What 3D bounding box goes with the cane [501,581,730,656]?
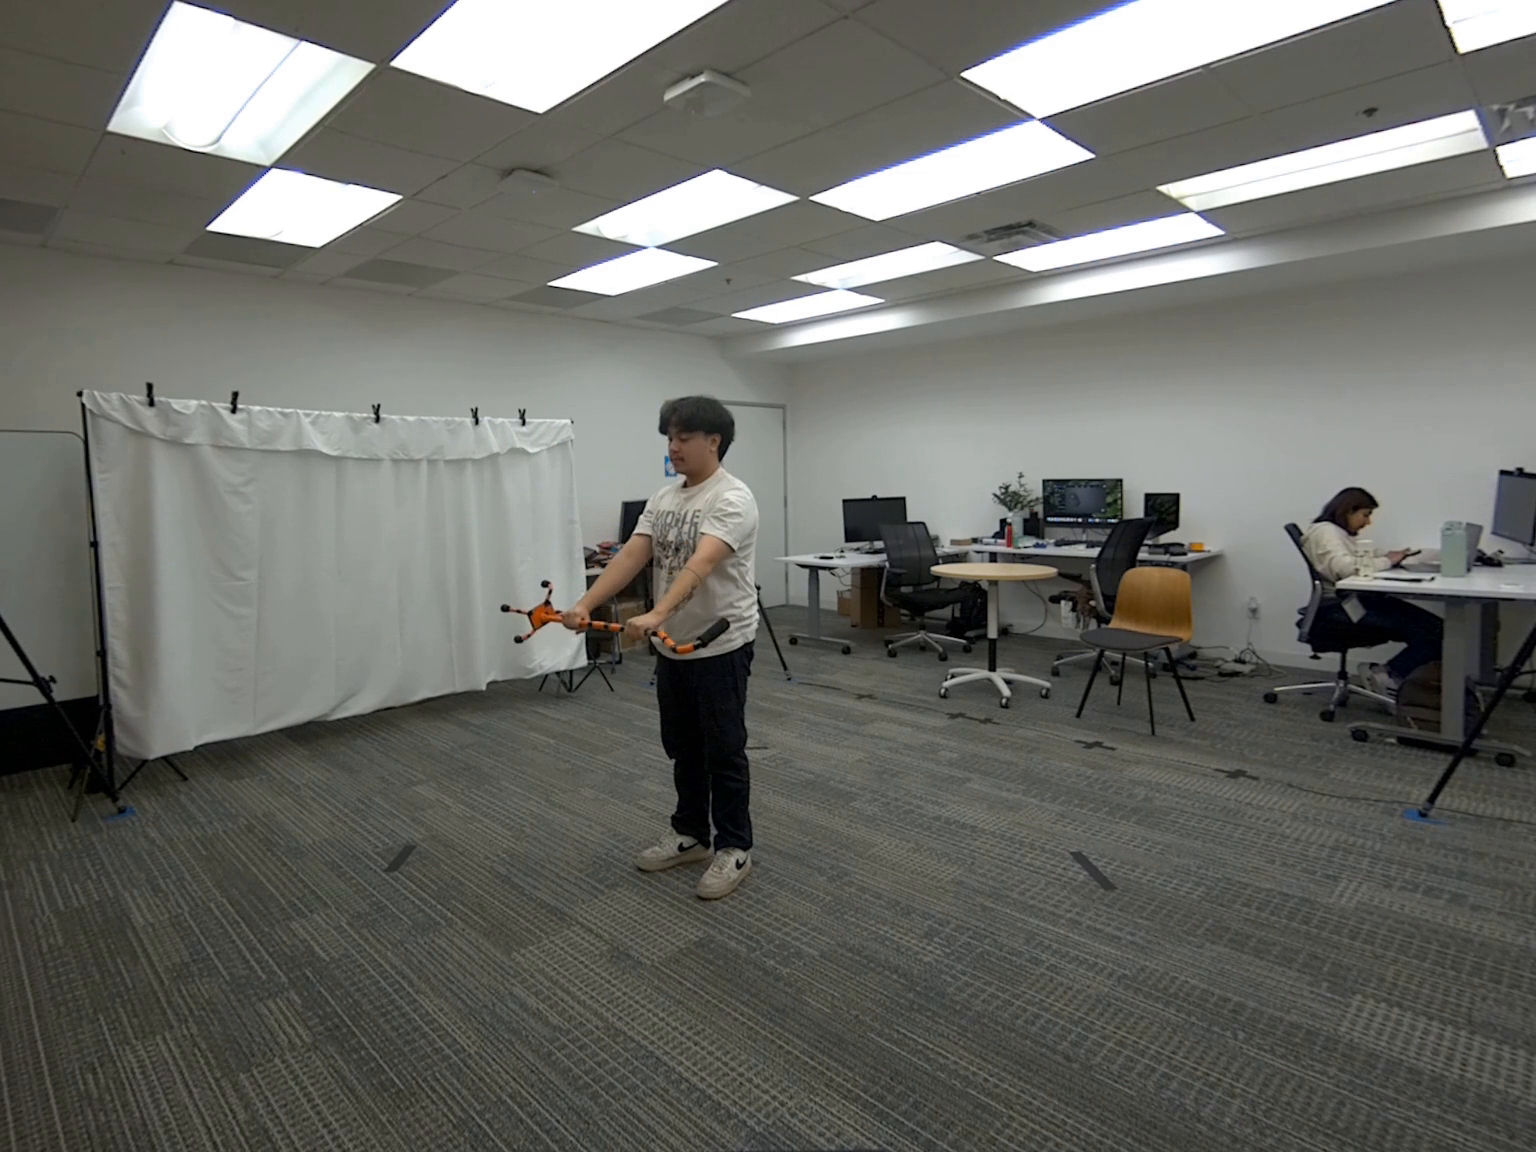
[{"bbox_3d":[-0.490,0.146,2.671,0.936,0.148,0.204,4,29,45],"label":"cane"}]
